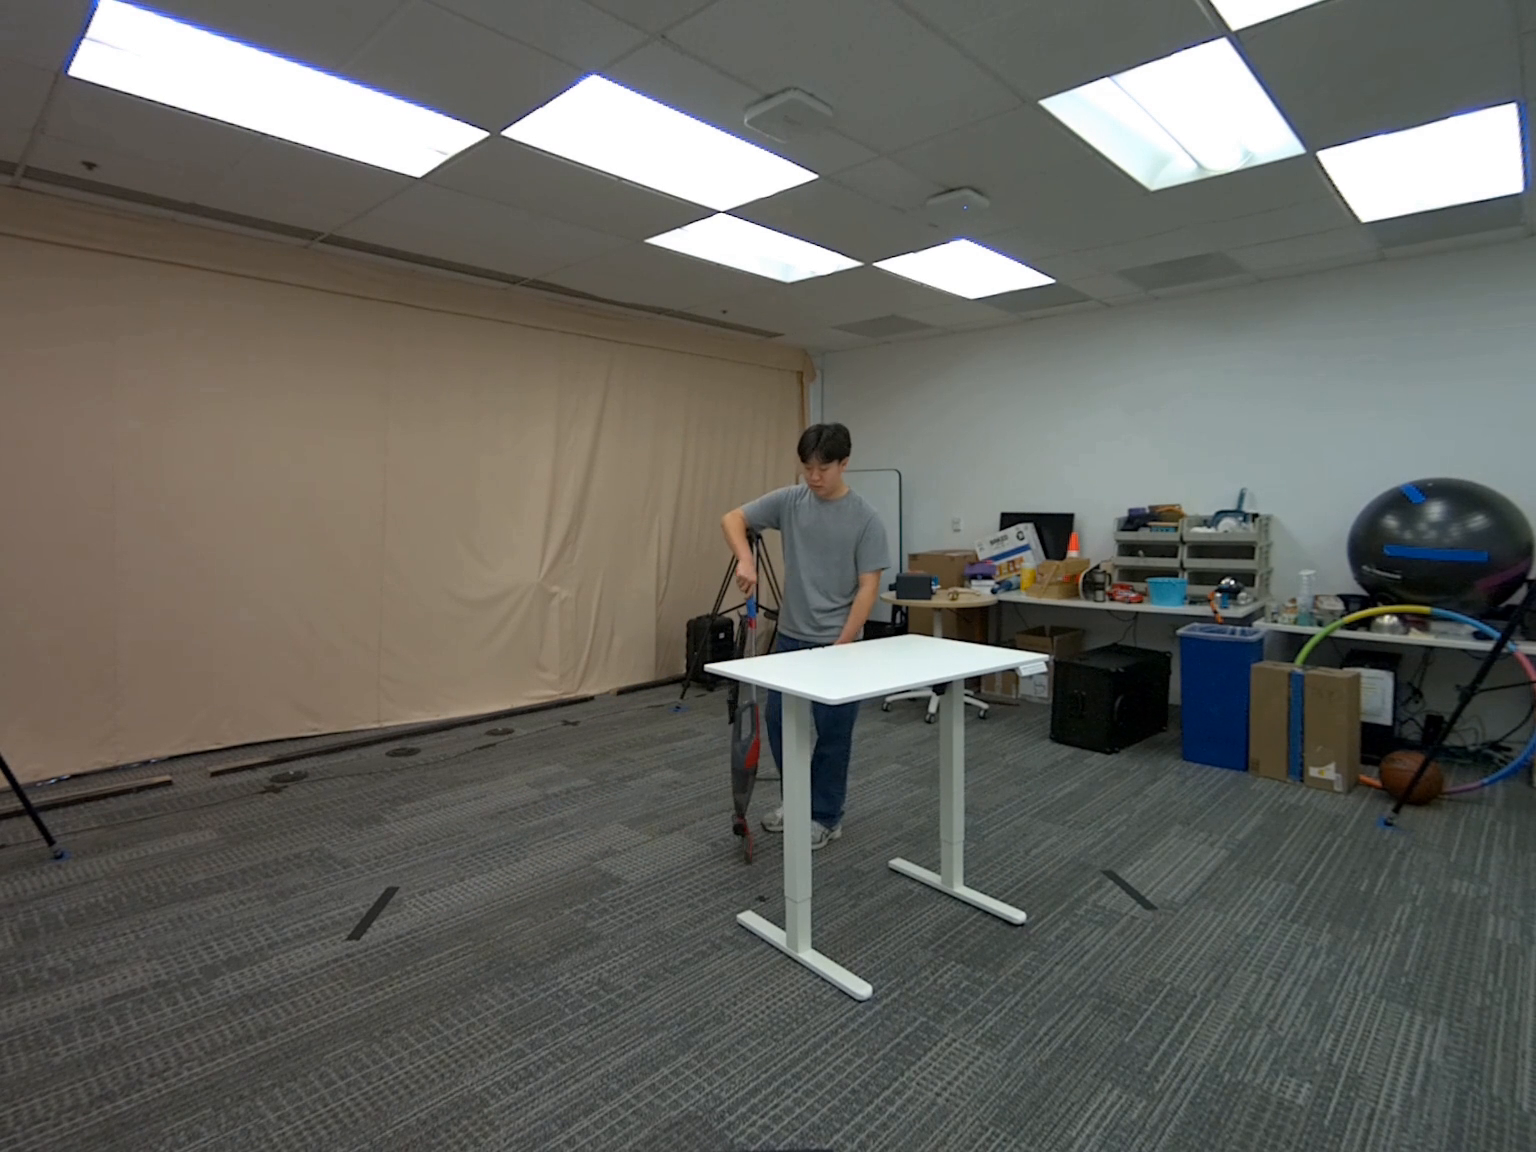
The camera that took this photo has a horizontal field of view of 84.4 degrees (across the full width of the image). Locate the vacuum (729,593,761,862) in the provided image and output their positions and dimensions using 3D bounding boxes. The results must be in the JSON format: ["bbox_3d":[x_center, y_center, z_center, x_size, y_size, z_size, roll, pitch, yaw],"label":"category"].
[{"bbox_3d":[-0.090,0.528,3.359,0.146,1.048,0.248,0,2,15],"label":"vacuum"}]
